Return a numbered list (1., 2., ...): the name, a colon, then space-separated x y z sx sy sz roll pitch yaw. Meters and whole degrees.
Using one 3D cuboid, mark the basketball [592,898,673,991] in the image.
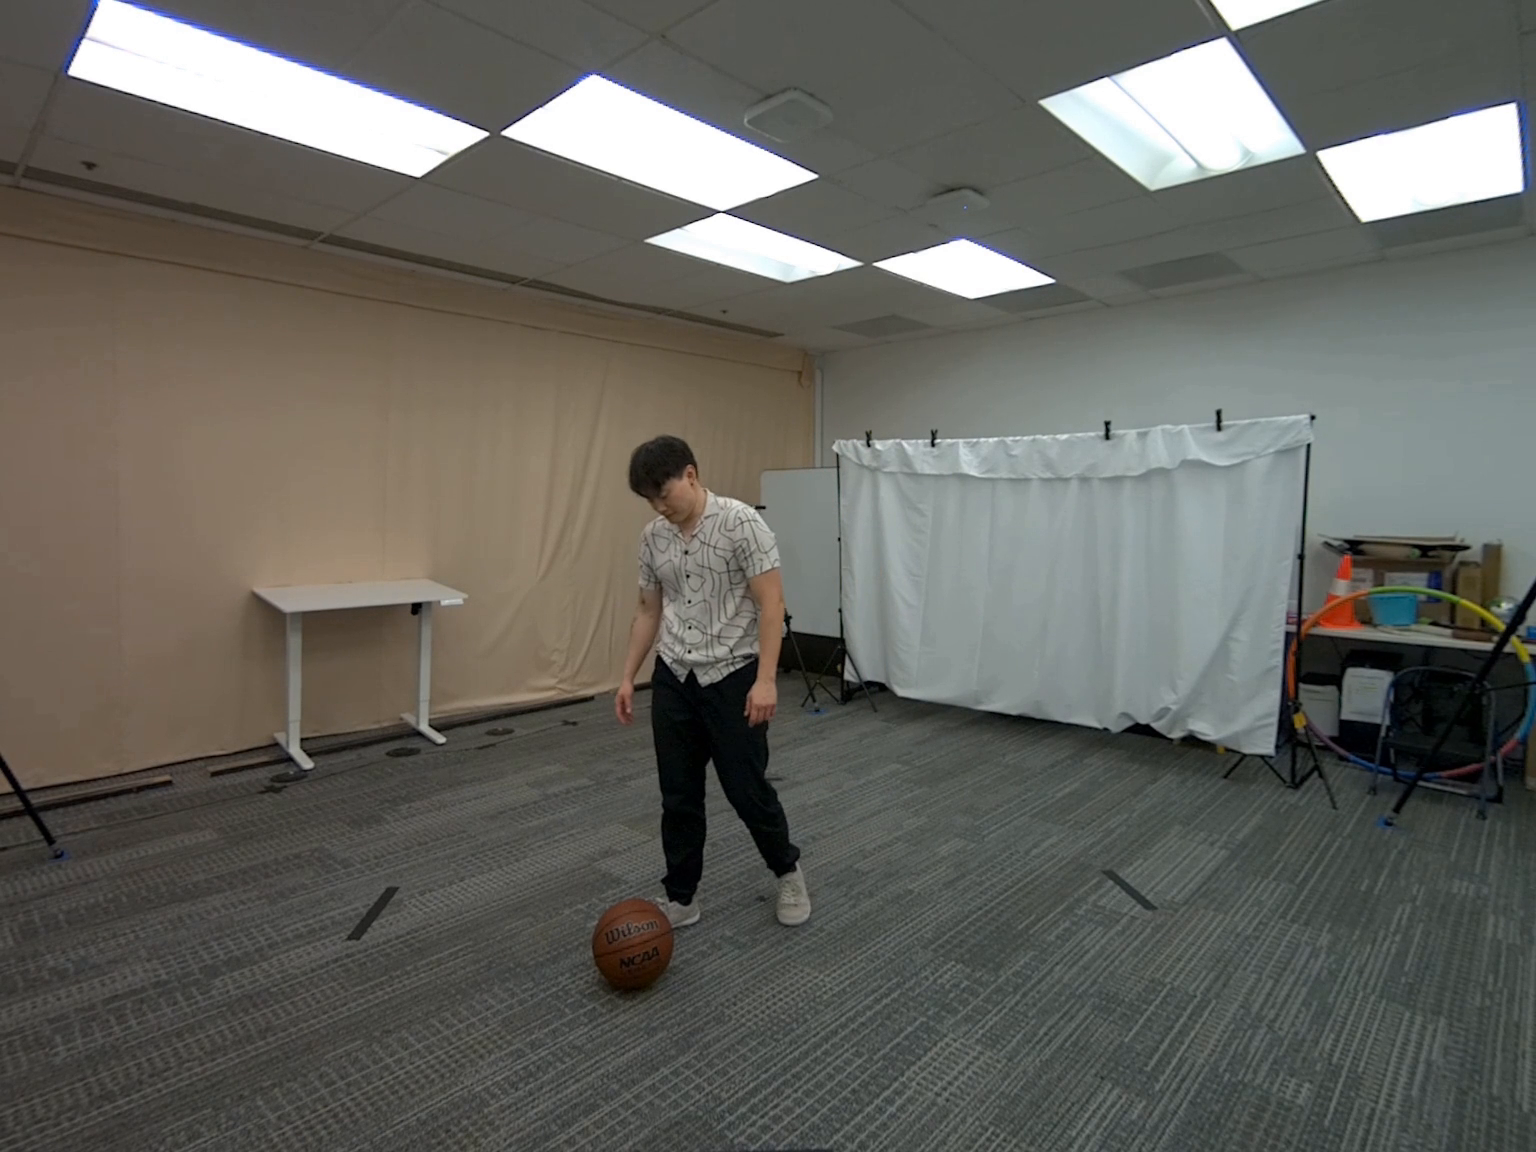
1. basketball: -0.392 1.073 2.448 0.236 0.235 0.237 0 4 -2
